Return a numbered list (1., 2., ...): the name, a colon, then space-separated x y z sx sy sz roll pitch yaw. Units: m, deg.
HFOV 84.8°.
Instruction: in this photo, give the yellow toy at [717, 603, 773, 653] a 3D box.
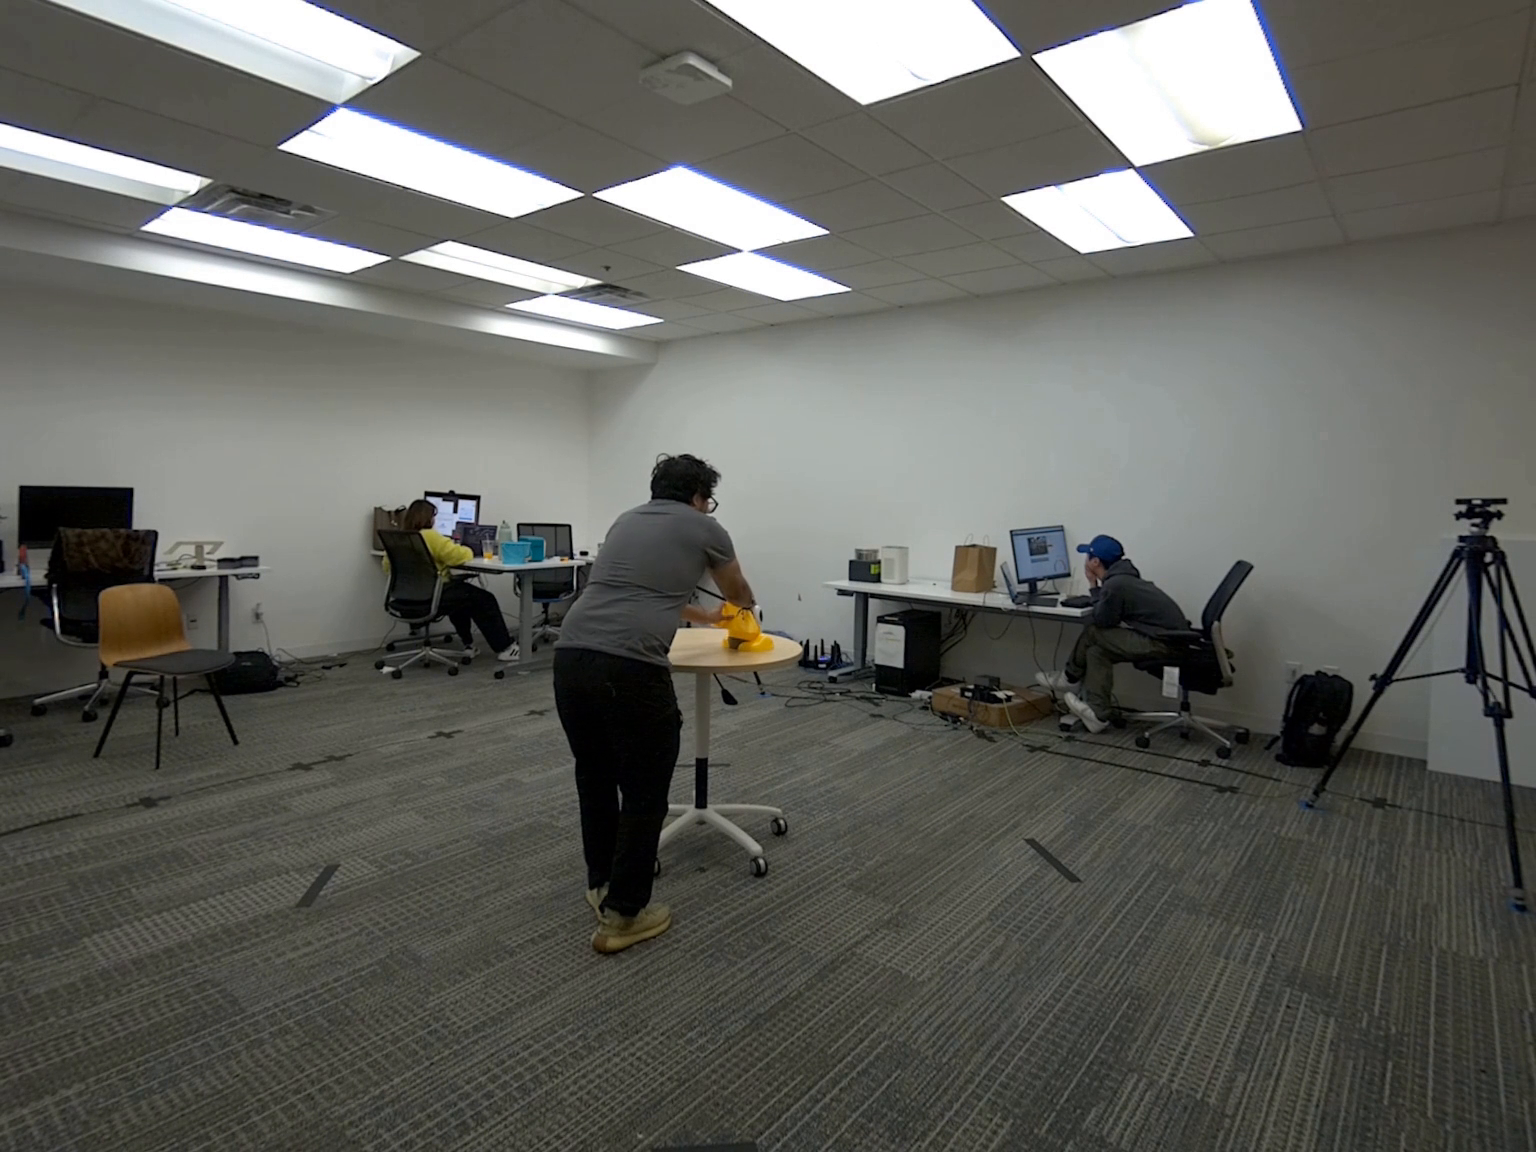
1. yellow toy: -0.091 0.160 3.302 0.212 0.230 0.187 5 5 42
